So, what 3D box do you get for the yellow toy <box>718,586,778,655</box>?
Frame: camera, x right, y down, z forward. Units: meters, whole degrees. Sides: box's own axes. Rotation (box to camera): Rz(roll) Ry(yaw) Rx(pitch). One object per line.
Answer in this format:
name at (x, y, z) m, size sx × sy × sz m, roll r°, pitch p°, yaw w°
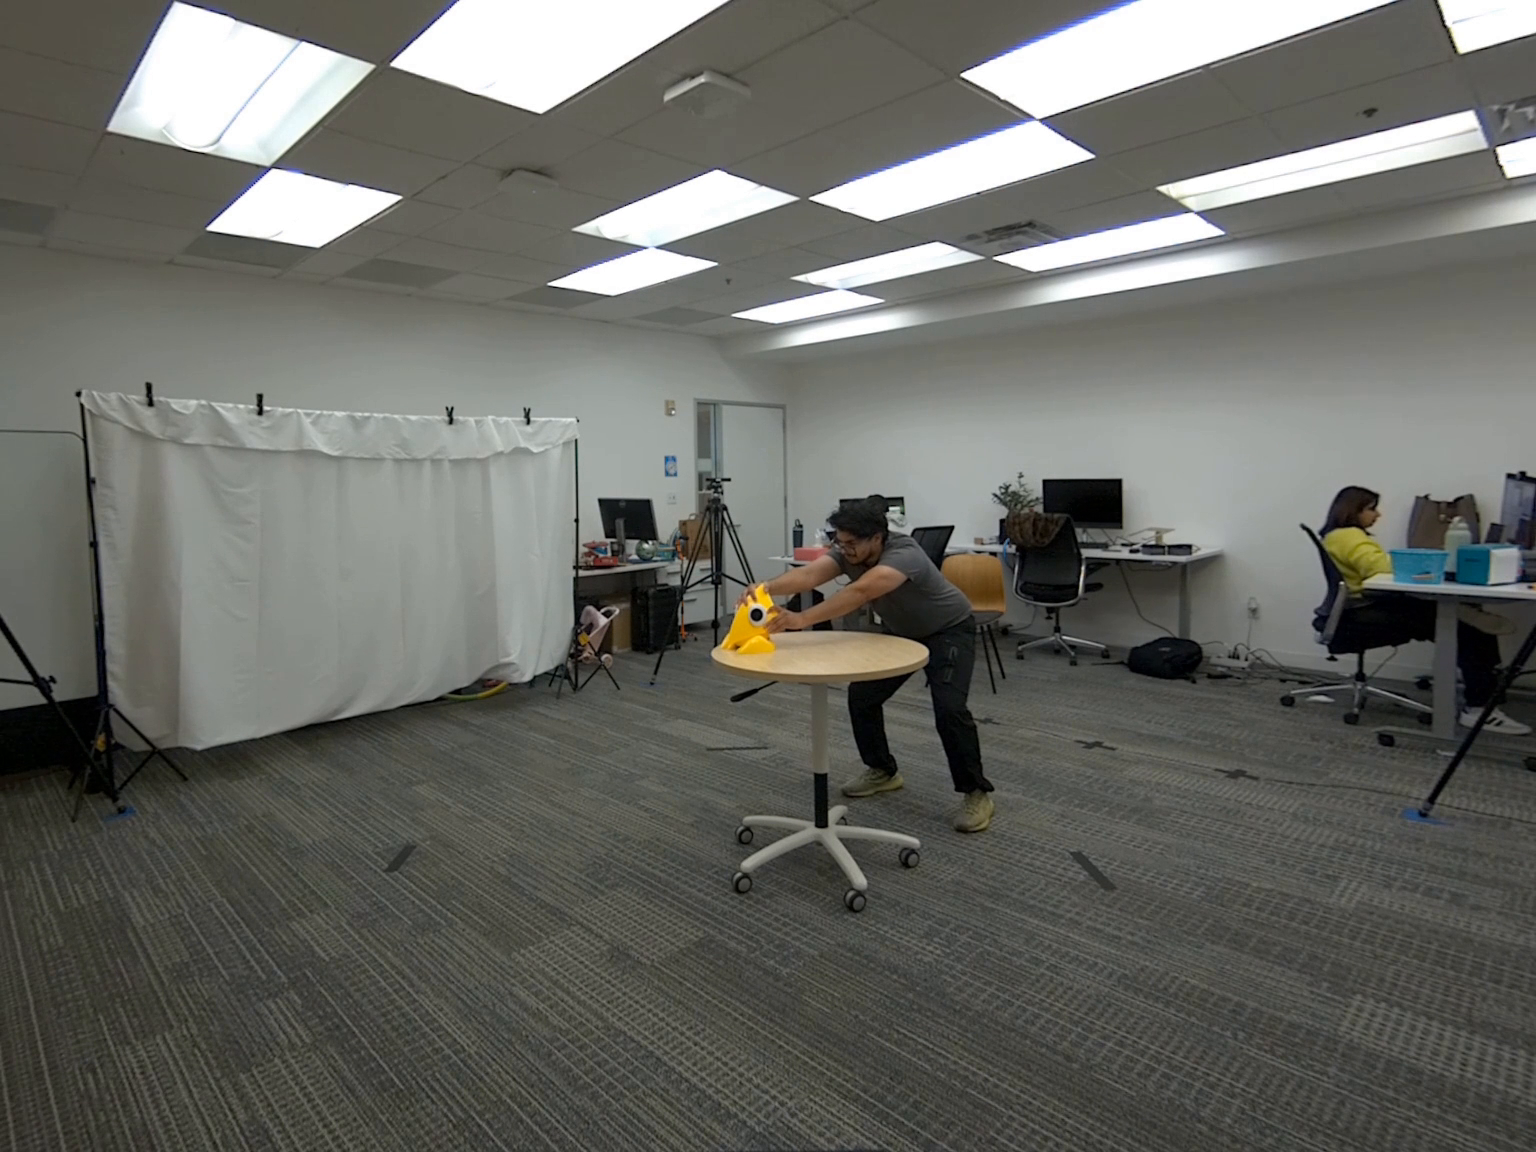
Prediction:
yellow toy at (-0.062, 0.152, 3.116) m, size 0.188 × 0.230 × 0.210 m, roll -4°, pitch 5°, yaw -30°
